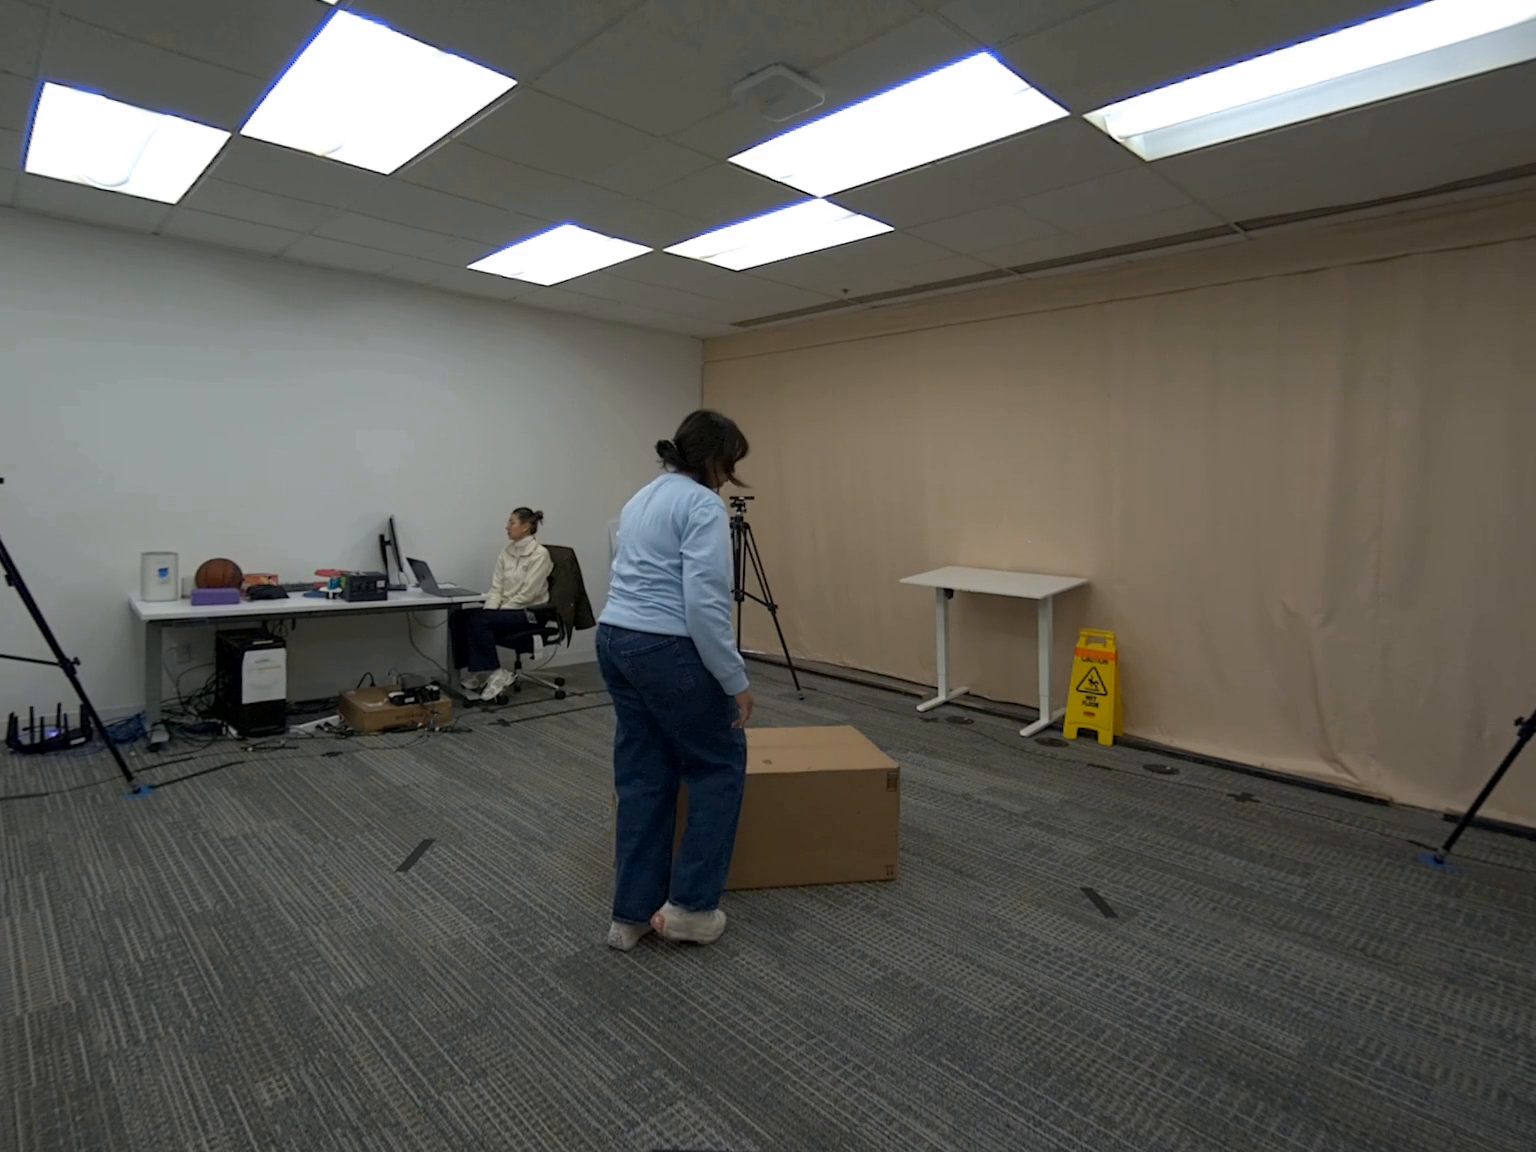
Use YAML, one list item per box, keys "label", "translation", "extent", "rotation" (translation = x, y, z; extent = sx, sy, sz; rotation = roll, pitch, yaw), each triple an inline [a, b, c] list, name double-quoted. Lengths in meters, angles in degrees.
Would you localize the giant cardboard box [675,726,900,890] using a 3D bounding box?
- label: "giant cardboard box"
  translation: [-0.082, 0.878, 3.267]
  extent: [1.017, 0.425, 0.584]
  rotation: [0, 5, -11]
